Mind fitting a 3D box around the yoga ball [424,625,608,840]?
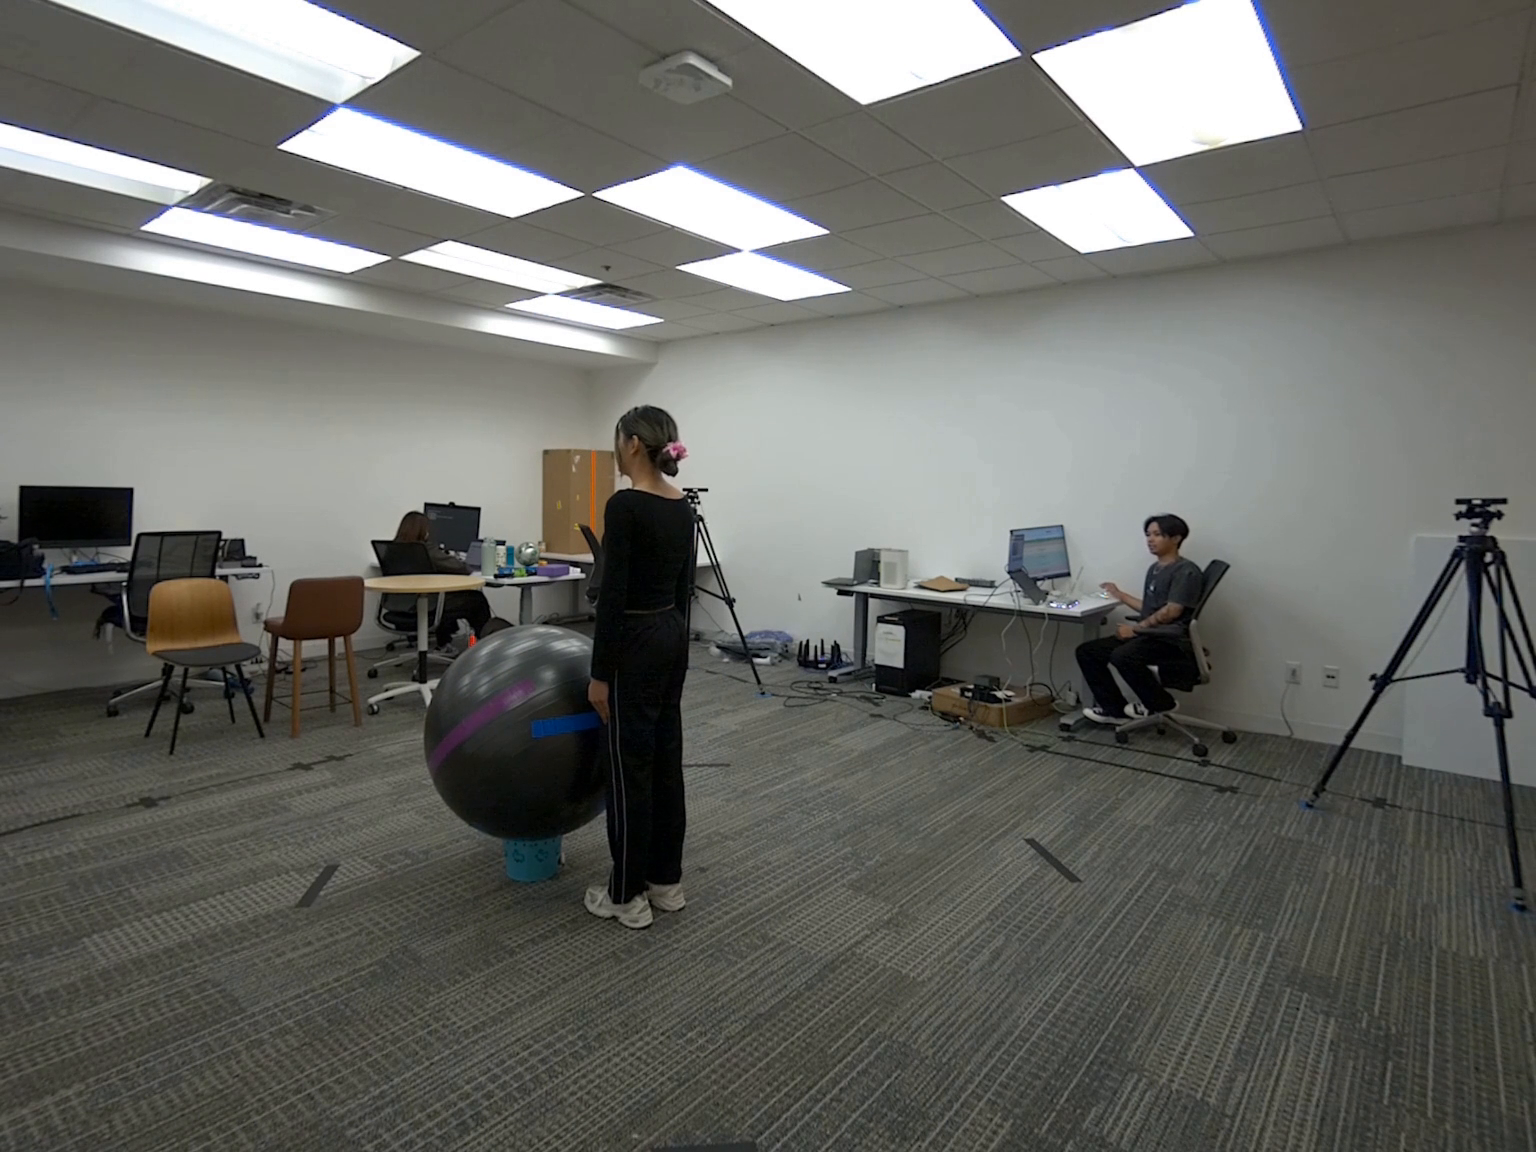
[{"bbox_3d":[-0.863,0.558,3.062,0.757,0.755,0.762,1,4,-2],"label":"yoga ball"}]
